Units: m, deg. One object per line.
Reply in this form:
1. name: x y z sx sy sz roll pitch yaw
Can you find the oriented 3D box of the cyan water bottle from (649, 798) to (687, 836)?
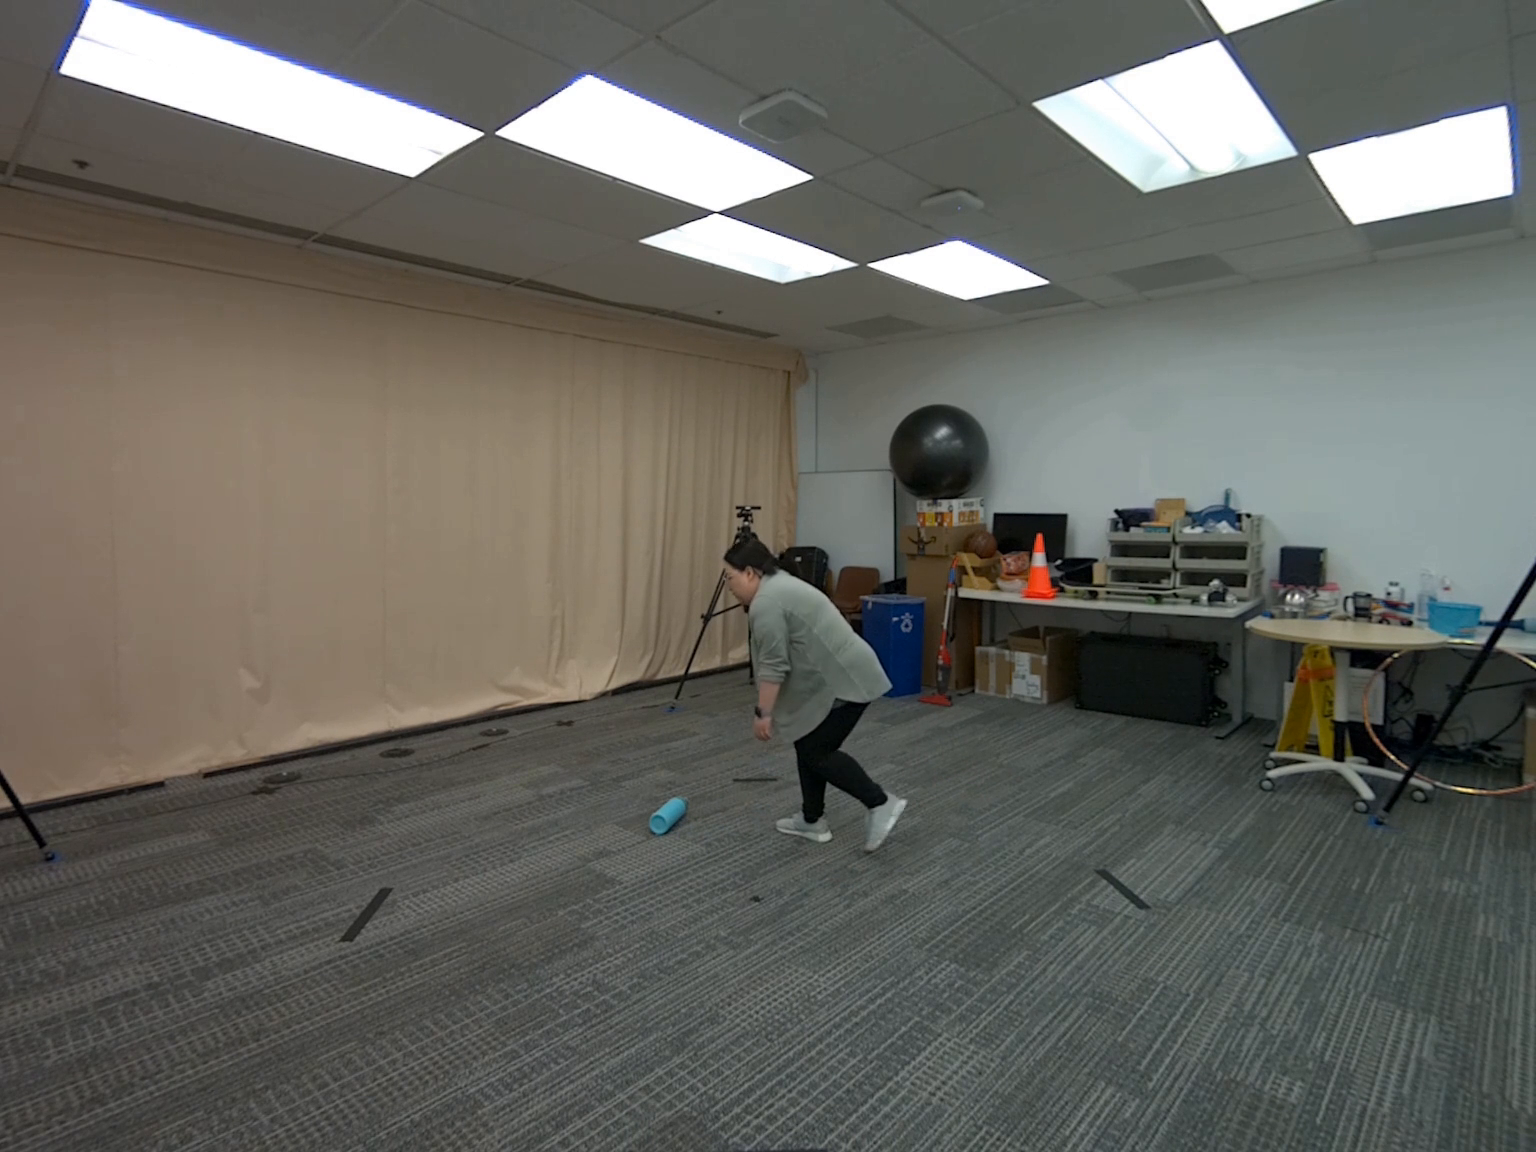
1. cyan water bottle: -0.430 1.043 3.706 0.094 0.092 0.279 1 5 14
